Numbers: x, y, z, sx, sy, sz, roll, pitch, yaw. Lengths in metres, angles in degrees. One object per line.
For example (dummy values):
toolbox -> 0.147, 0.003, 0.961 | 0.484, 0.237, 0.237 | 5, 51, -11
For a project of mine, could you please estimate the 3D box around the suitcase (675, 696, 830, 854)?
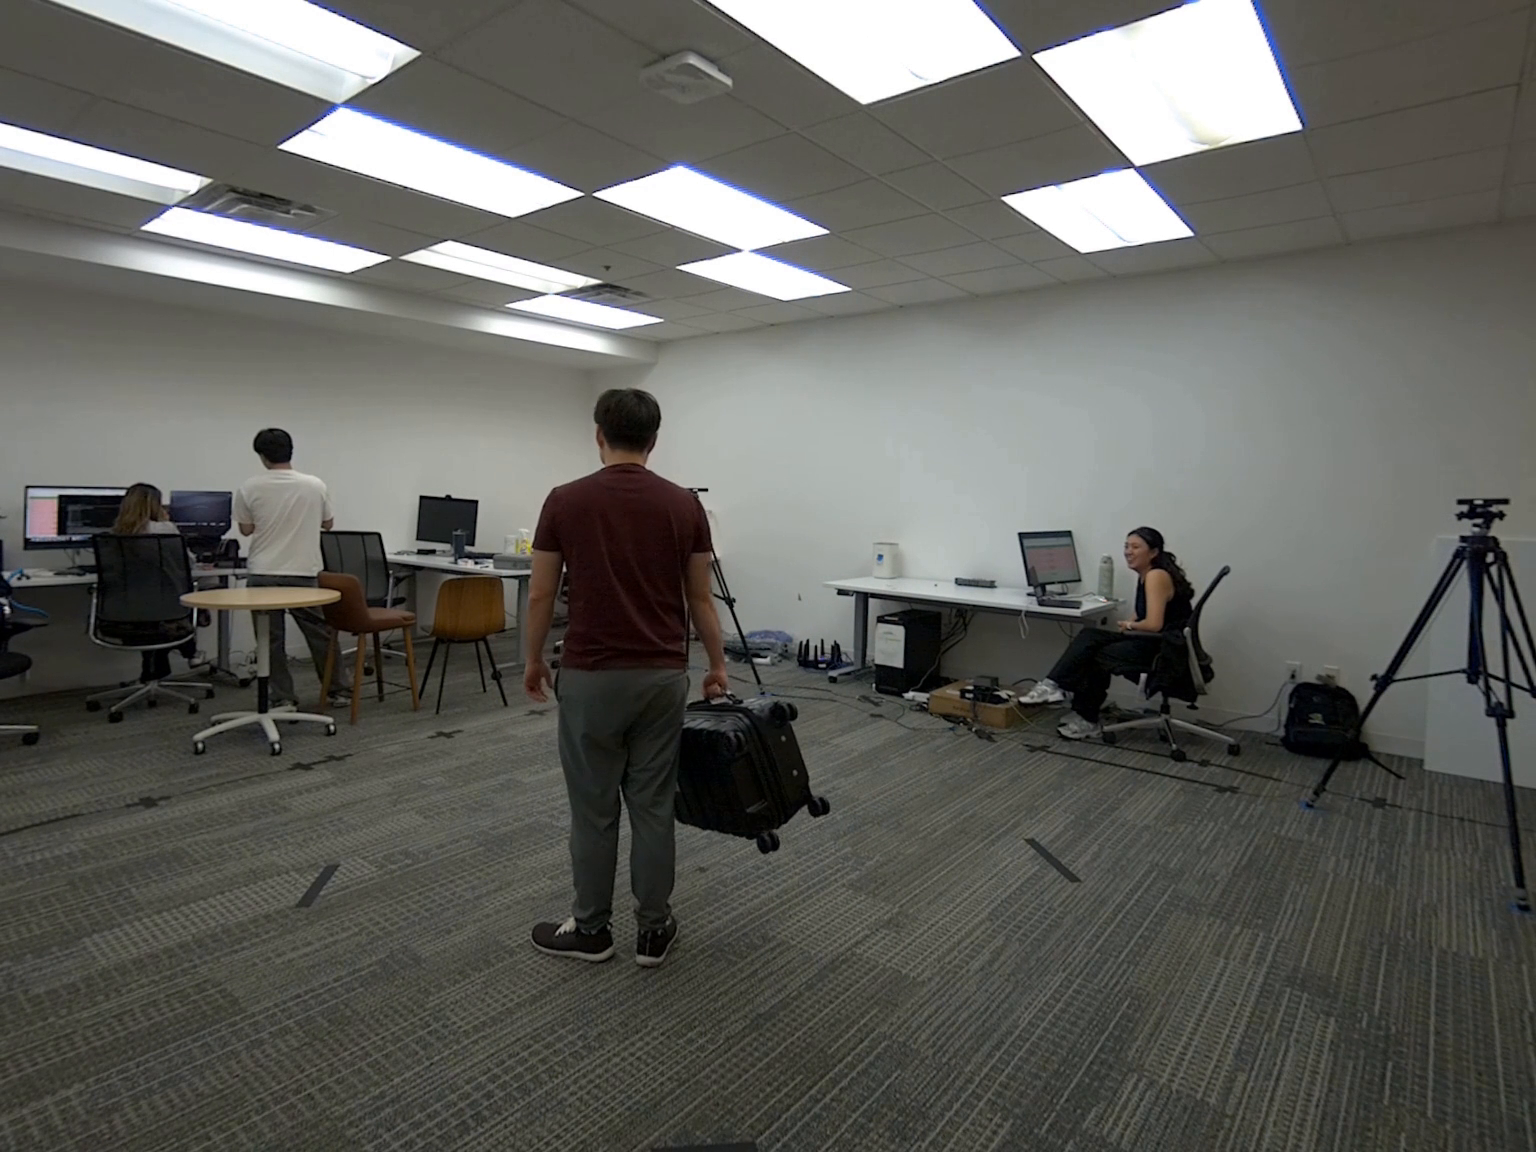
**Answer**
suitcase -> -0.257, 0.608, 2.793 | 0.252, 0.383, 1.001 | -20, 4, -38
